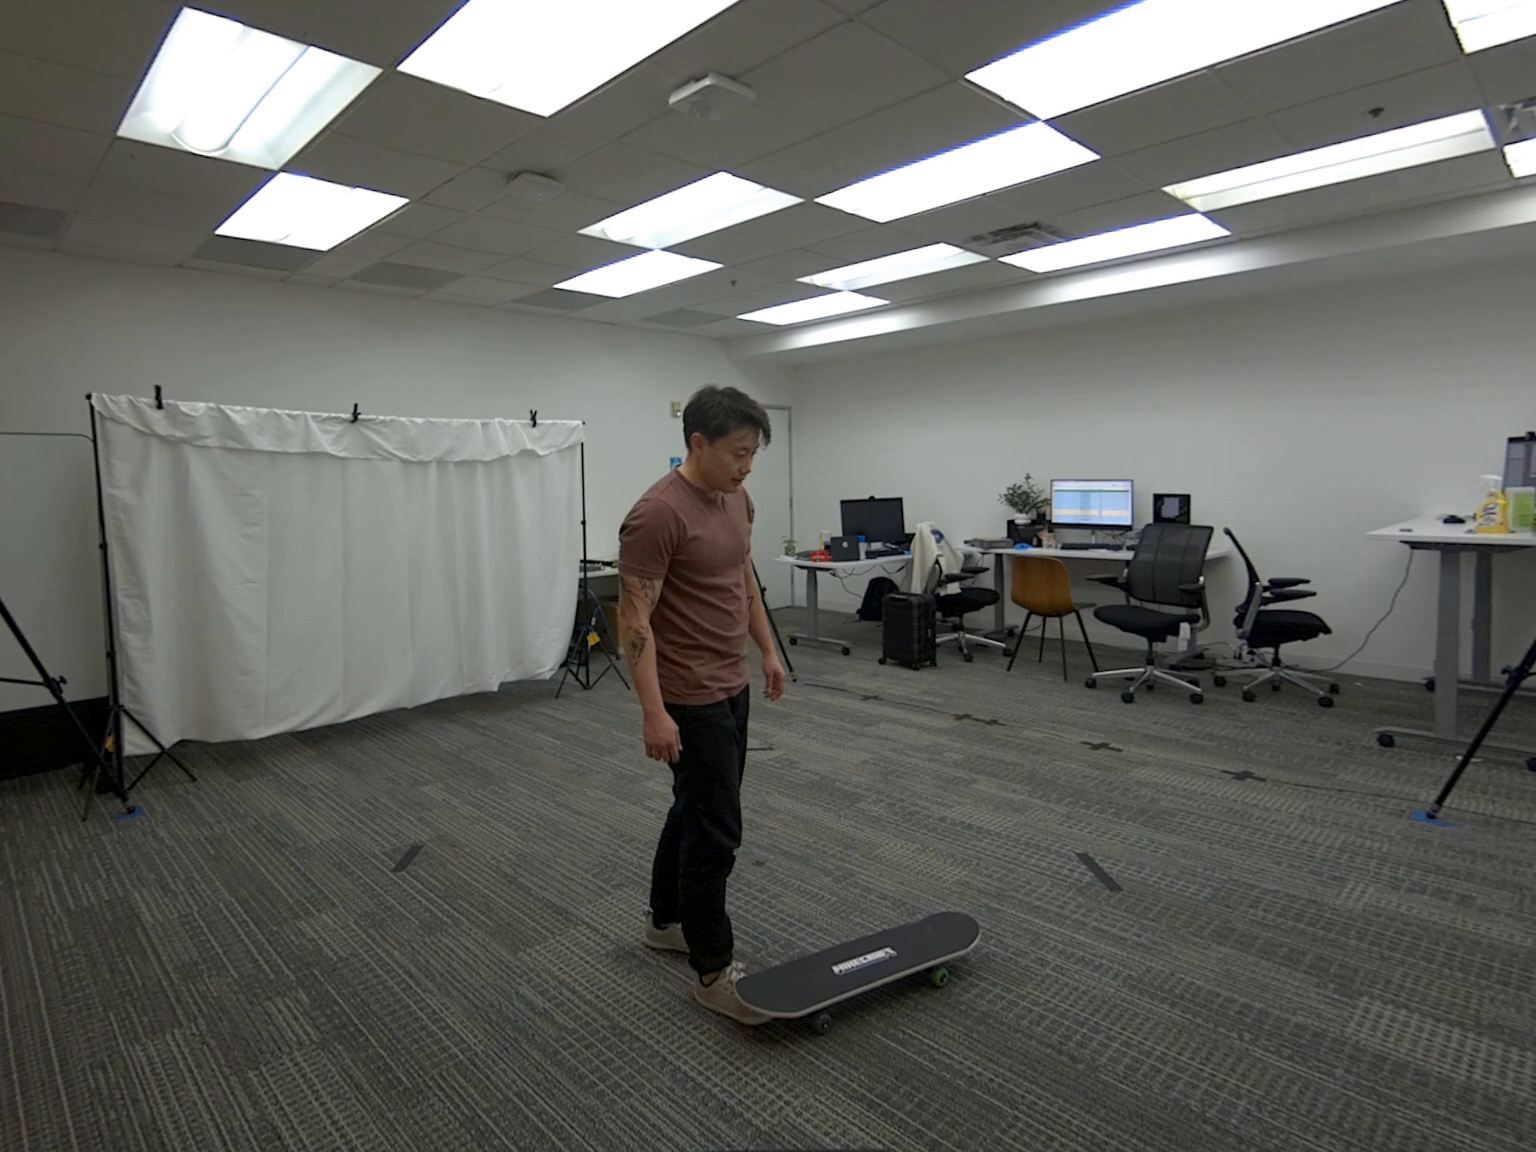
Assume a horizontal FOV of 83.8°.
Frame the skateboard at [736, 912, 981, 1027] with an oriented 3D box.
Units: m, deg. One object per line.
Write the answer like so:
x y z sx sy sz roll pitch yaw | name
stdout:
0.265 1.068 2.315 0.767 0.110 0.199 -4 6 -30 | skateboard
